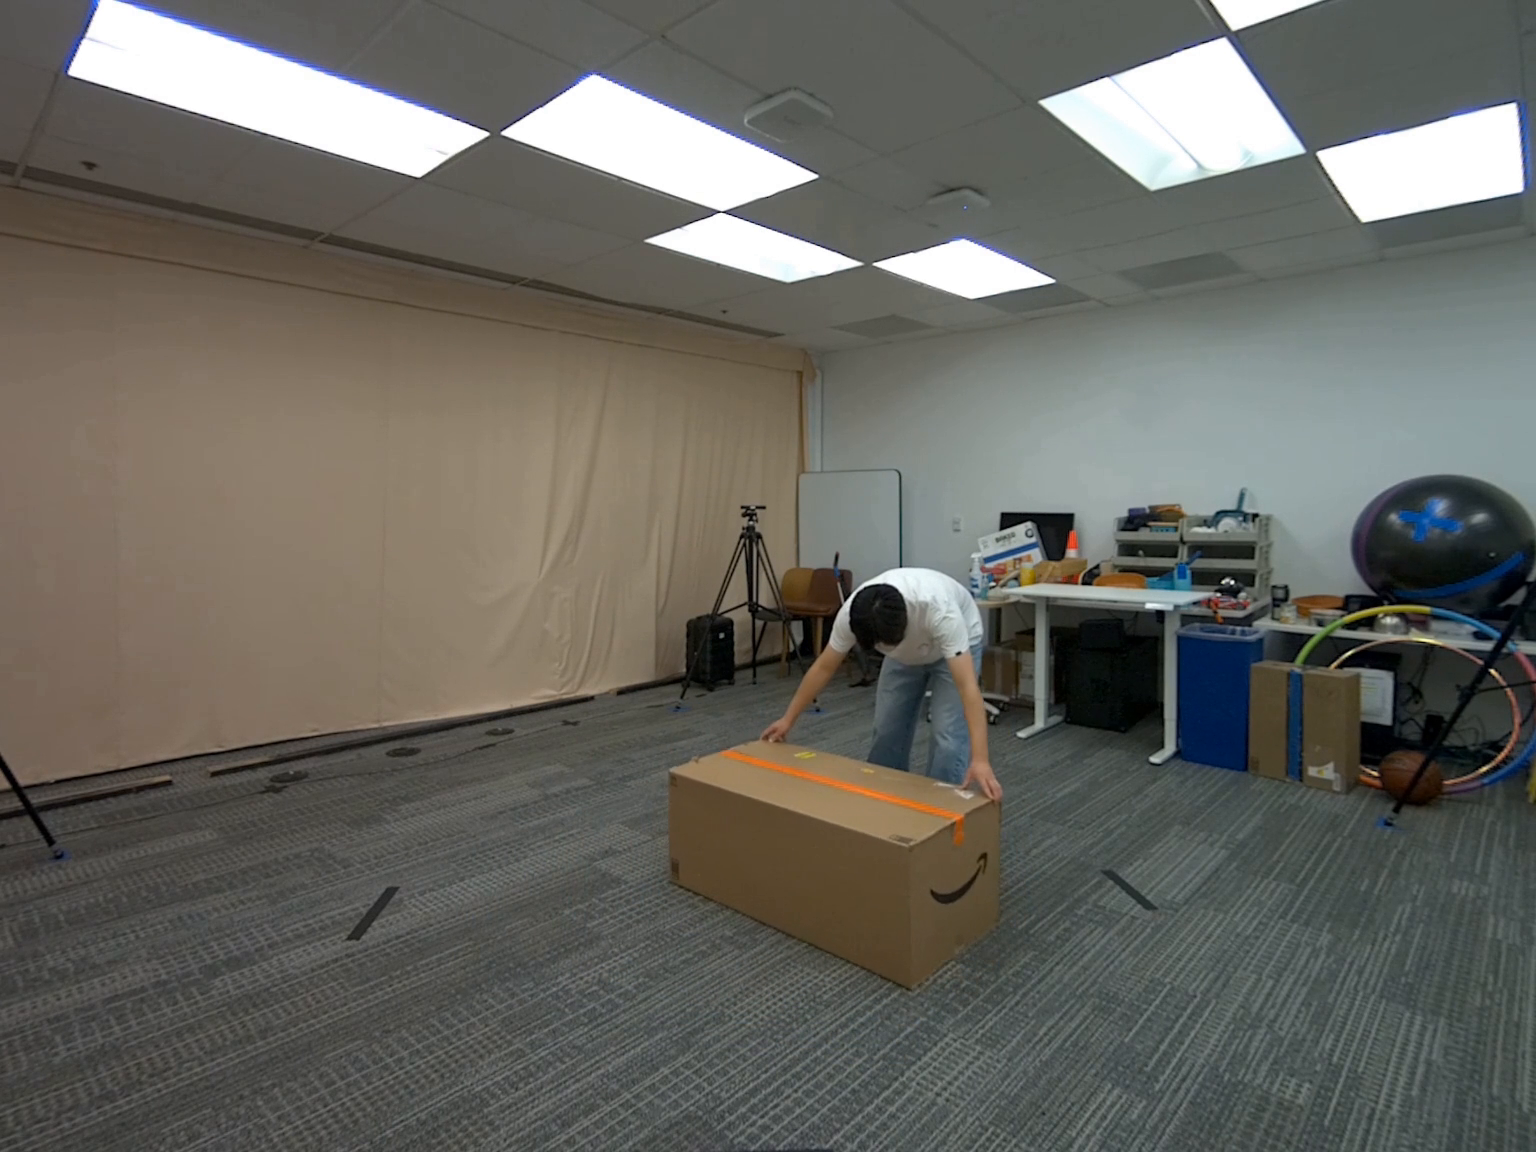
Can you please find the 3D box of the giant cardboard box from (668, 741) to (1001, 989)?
[{"bbox_3d":[0.202,0.929,2.963,1.060,0.425,0.560,4,5,43],"label":"giant cardboard box"}]
